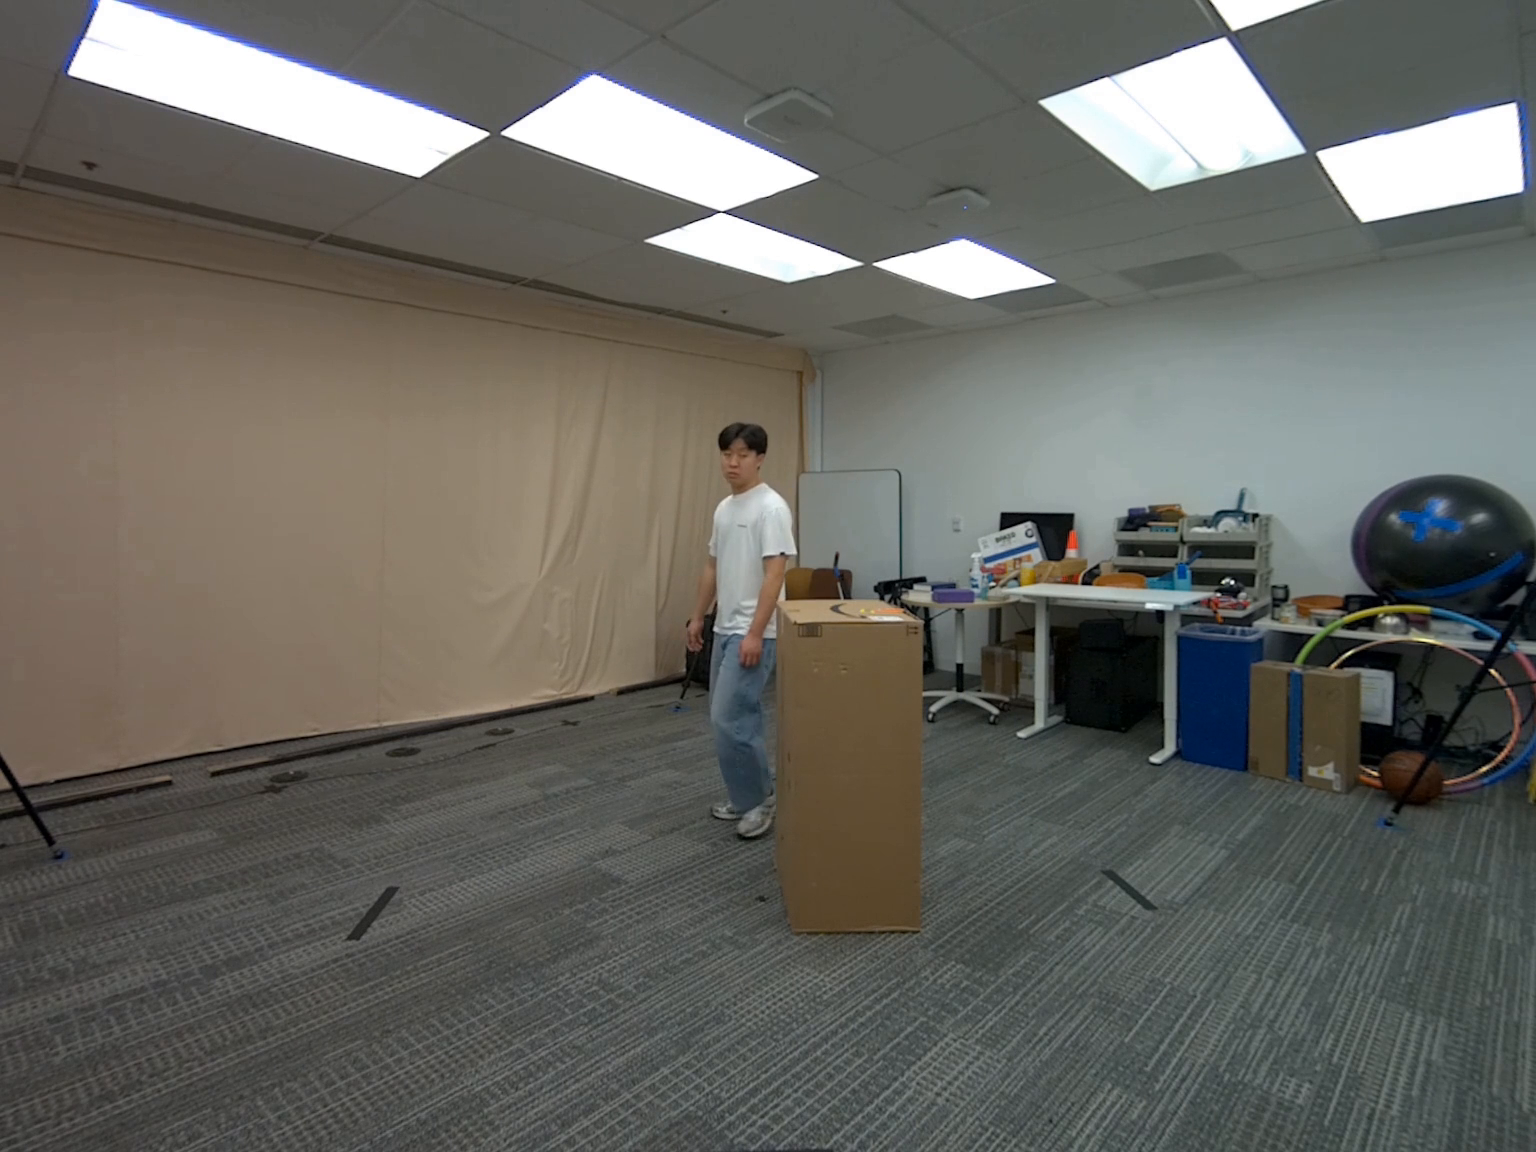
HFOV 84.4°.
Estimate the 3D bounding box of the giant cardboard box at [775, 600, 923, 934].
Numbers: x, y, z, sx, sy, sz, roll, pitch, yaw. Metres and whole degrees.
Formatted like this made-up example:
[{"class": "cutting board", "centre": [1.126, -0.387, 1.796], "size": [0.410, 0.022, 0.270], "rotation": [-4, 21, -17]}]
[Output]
[{"class": "giant cardboard box", "centre": [0.273, 0.634, 2.995], "size": [0.425, 1.024, 0.580], "rotation": [0, 3, -4]}]
